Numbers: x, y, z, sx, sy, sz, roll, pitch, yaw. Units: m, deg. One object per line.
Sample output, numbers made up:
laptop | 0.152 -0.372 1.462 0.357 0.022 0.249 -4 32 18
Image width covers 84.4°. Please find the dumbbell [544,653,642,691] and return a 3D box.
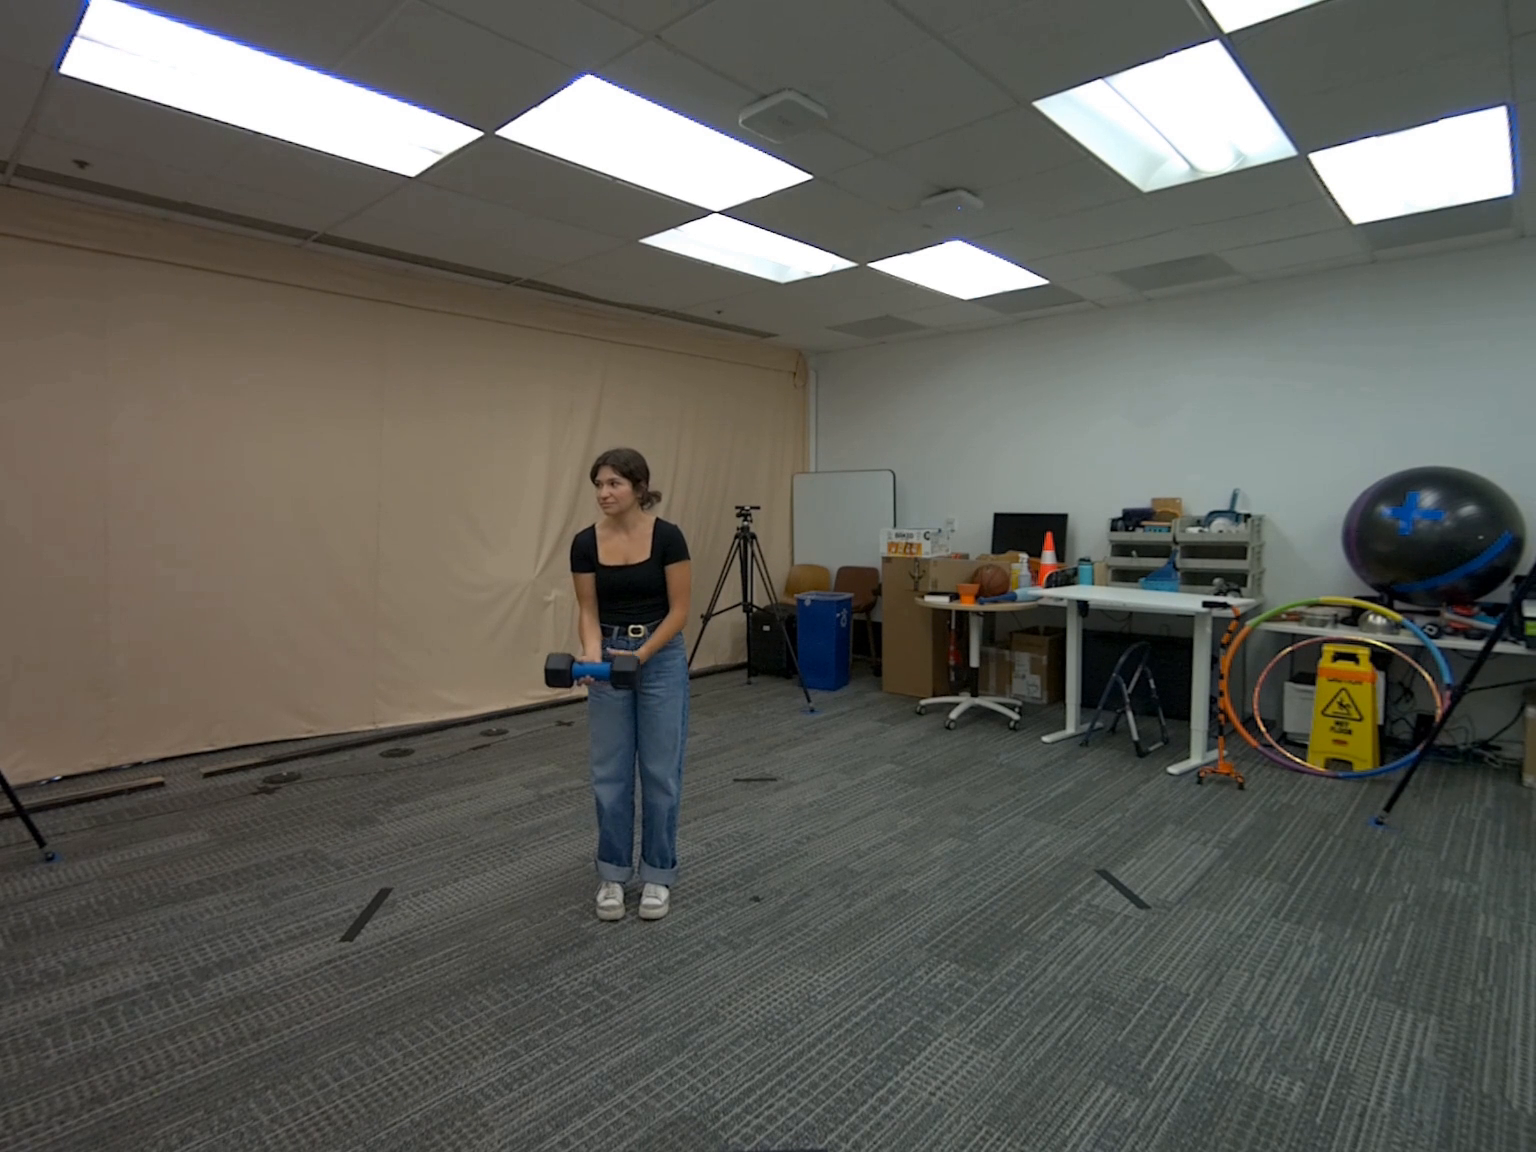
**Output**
dumbbell | -0.560 0.292 2.673 0.295 0.106 0.125 2 47 3
